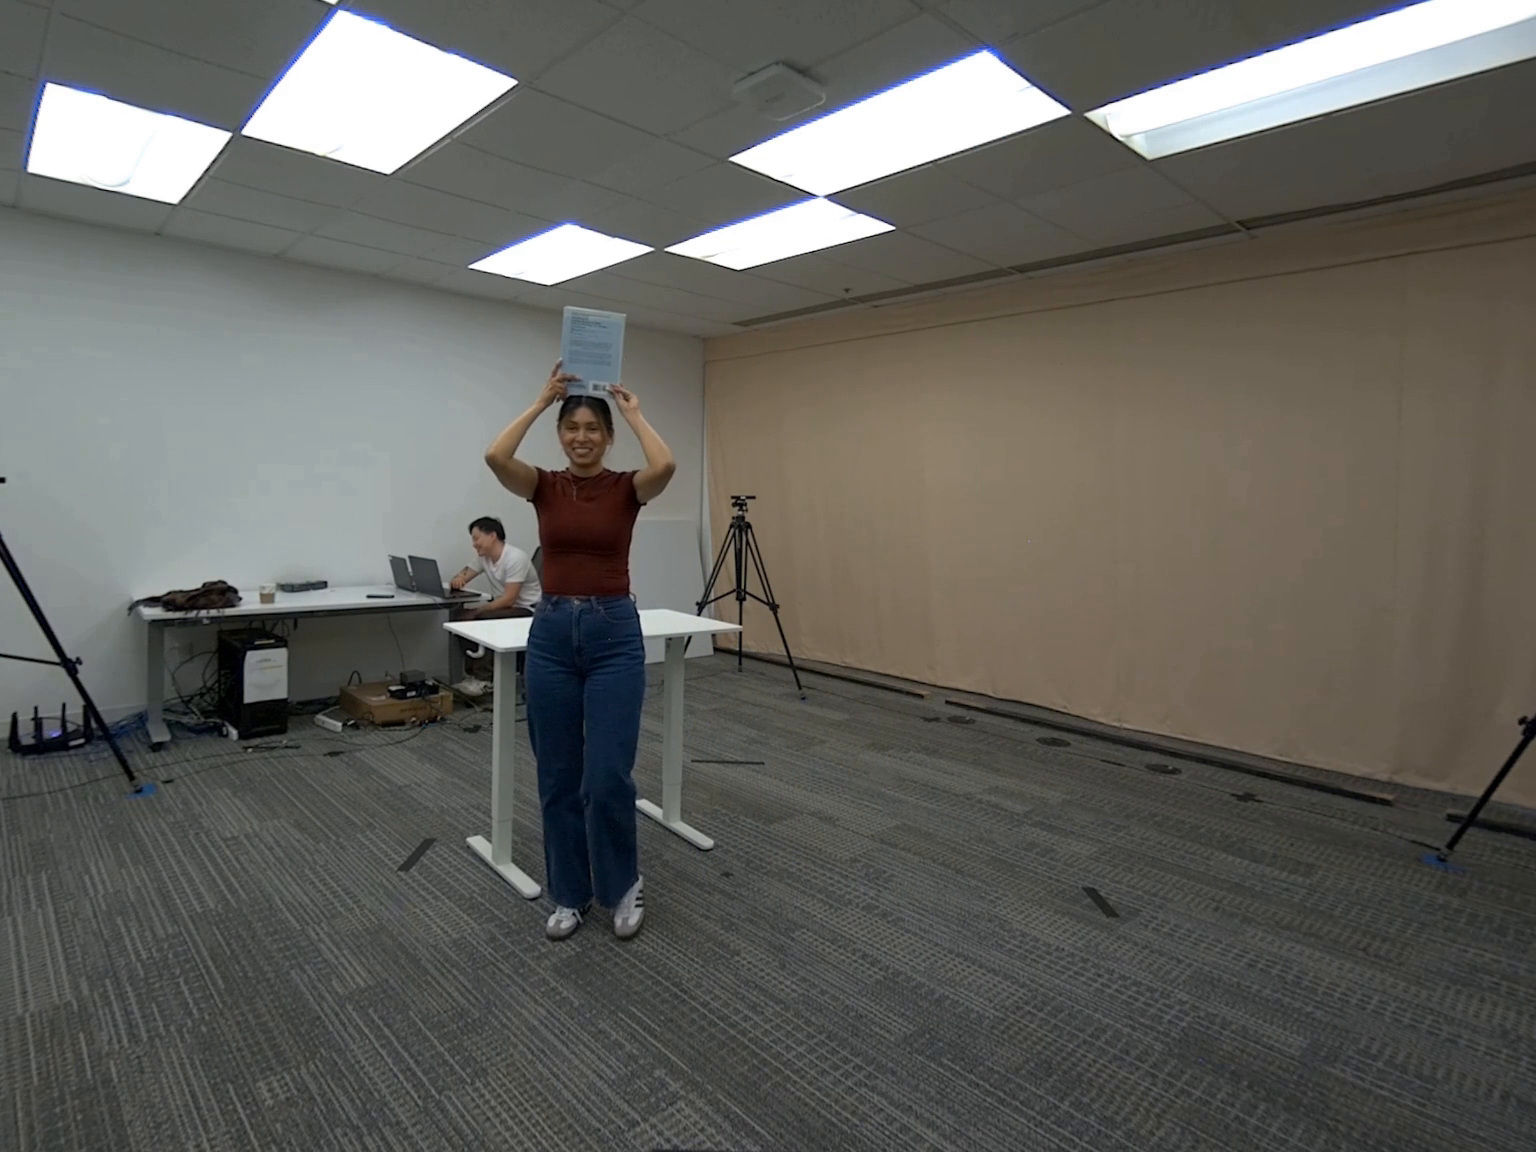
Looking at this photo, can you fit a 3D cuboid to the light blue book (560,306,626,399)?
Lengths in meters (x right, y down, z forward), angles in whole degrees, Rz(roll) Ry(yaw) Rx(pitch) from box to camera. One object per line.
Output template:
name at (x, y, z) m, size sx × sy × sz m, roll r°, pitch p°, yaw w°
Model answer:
light blue book at (-0.553, -0.693, 2.618) m, size 0.189 × 0.259 × 0.060 m, roll 7°, pitch 13°, yaw -11°
